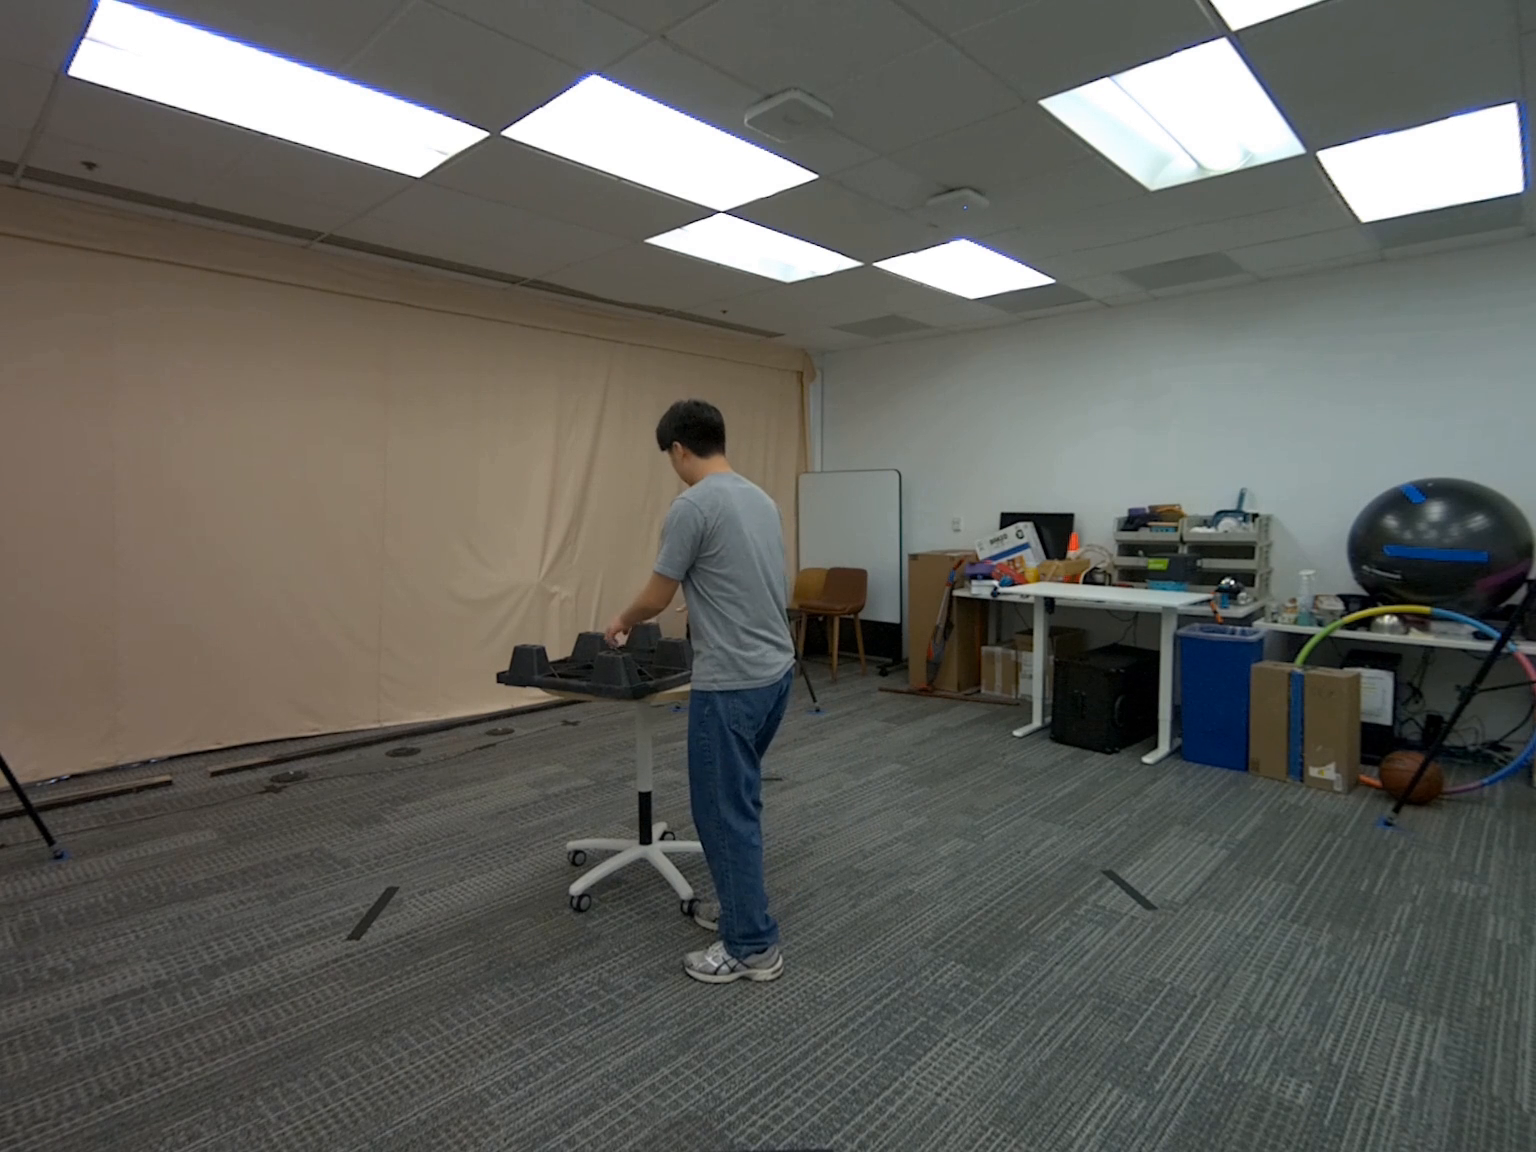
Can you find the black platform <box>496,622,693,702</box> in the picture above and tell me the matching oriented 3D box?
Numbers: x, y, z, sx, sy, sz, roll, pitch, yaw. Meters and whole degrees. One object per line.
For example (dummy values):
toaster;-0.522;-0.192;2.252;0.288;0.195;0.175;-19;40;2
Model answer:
black platform;-0.500;0.294;3.097;0.622;0.143;0.785;1;4;29
